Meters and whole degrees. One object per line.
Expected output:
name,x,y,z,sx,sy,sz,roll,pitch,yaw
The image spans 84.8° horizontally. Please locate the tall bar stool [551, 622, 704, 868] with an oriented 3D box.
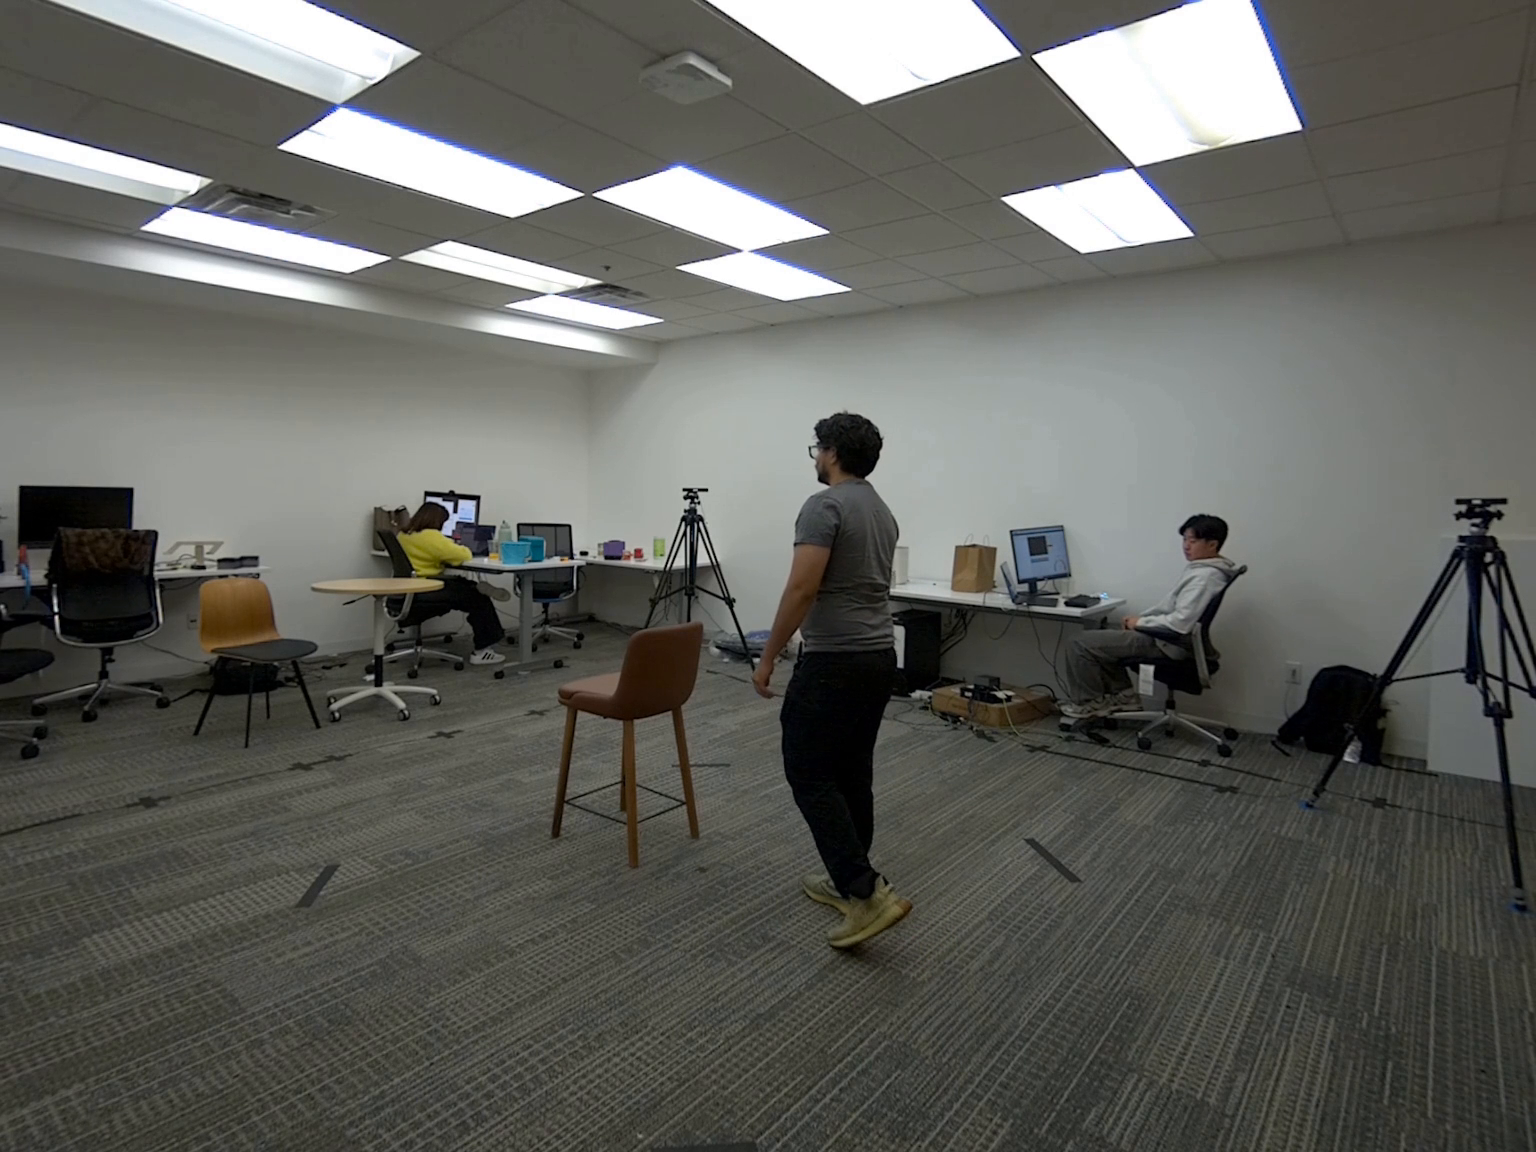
tall bar stool,-0.560,0.603,3.369,0.483,0.887,0.443,6,5,38
